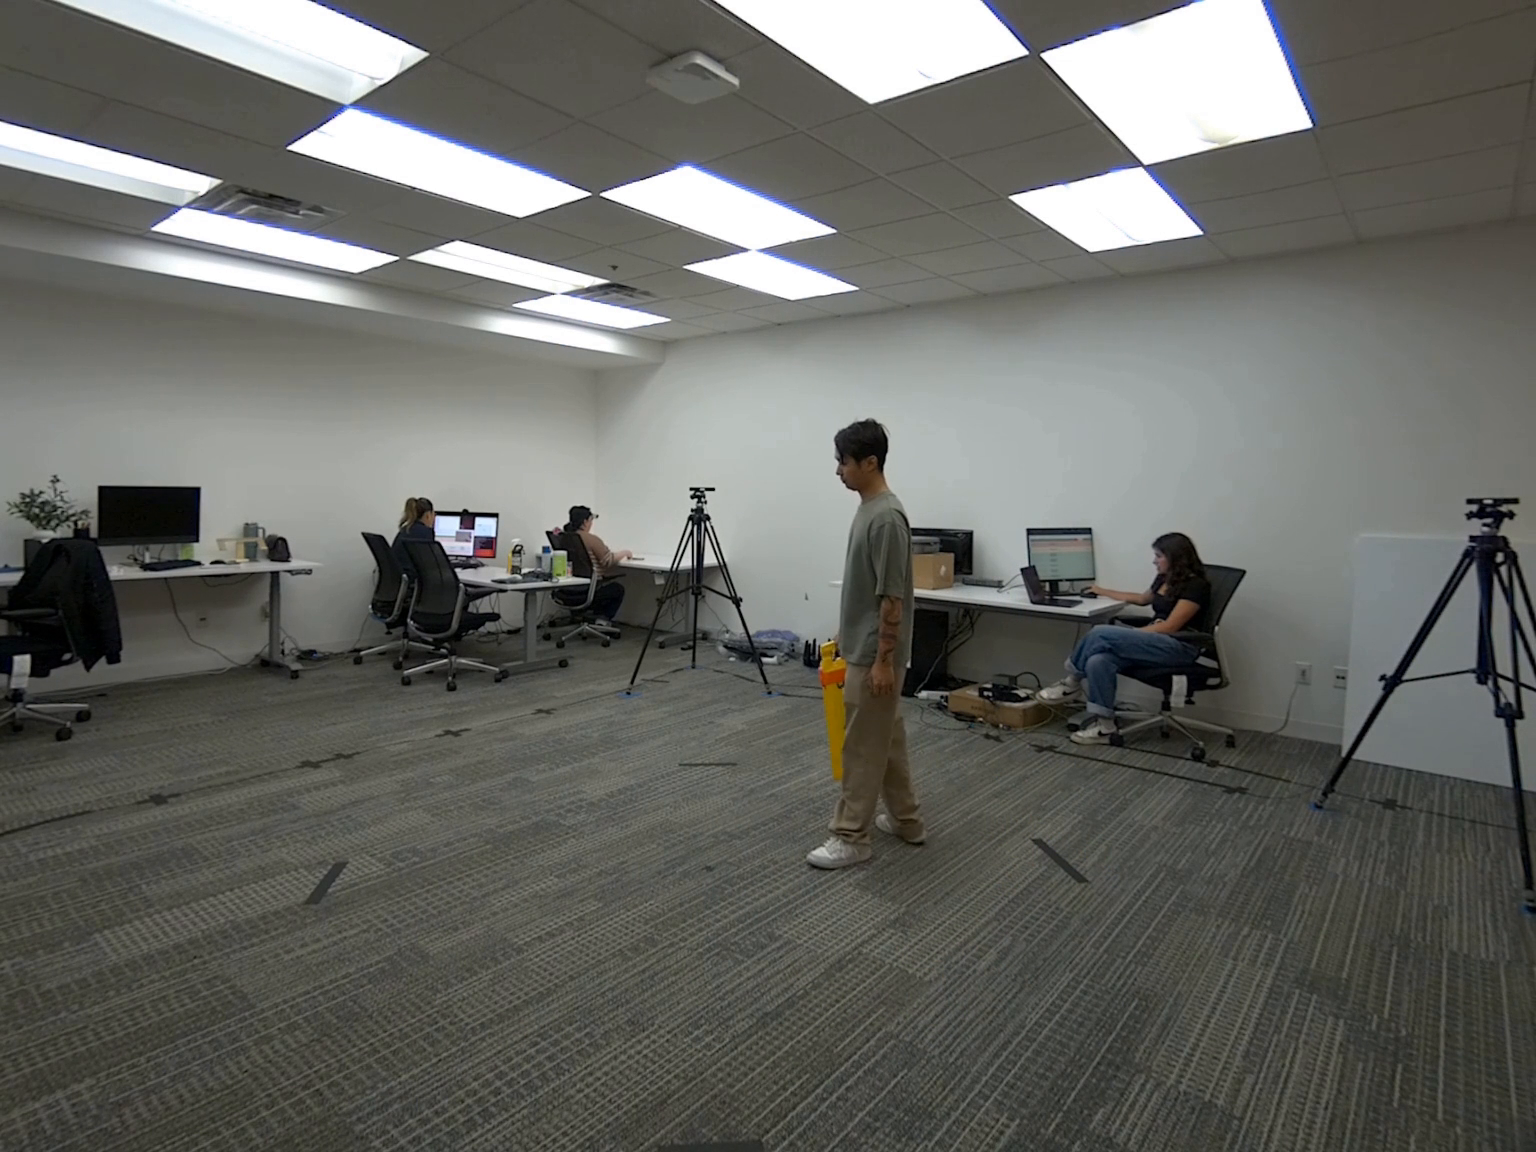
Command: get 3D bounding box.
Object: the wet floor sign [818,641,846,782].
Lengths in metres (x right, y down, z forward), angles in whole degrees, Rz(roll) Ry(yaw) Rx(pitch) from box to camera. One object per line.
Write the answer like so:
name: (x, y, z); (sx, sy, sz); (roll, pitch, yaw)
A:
wet floor sign: (0.377, 0.580, 3.641); (0.281, 0.640, 0.294); (-13, 8, -7)
